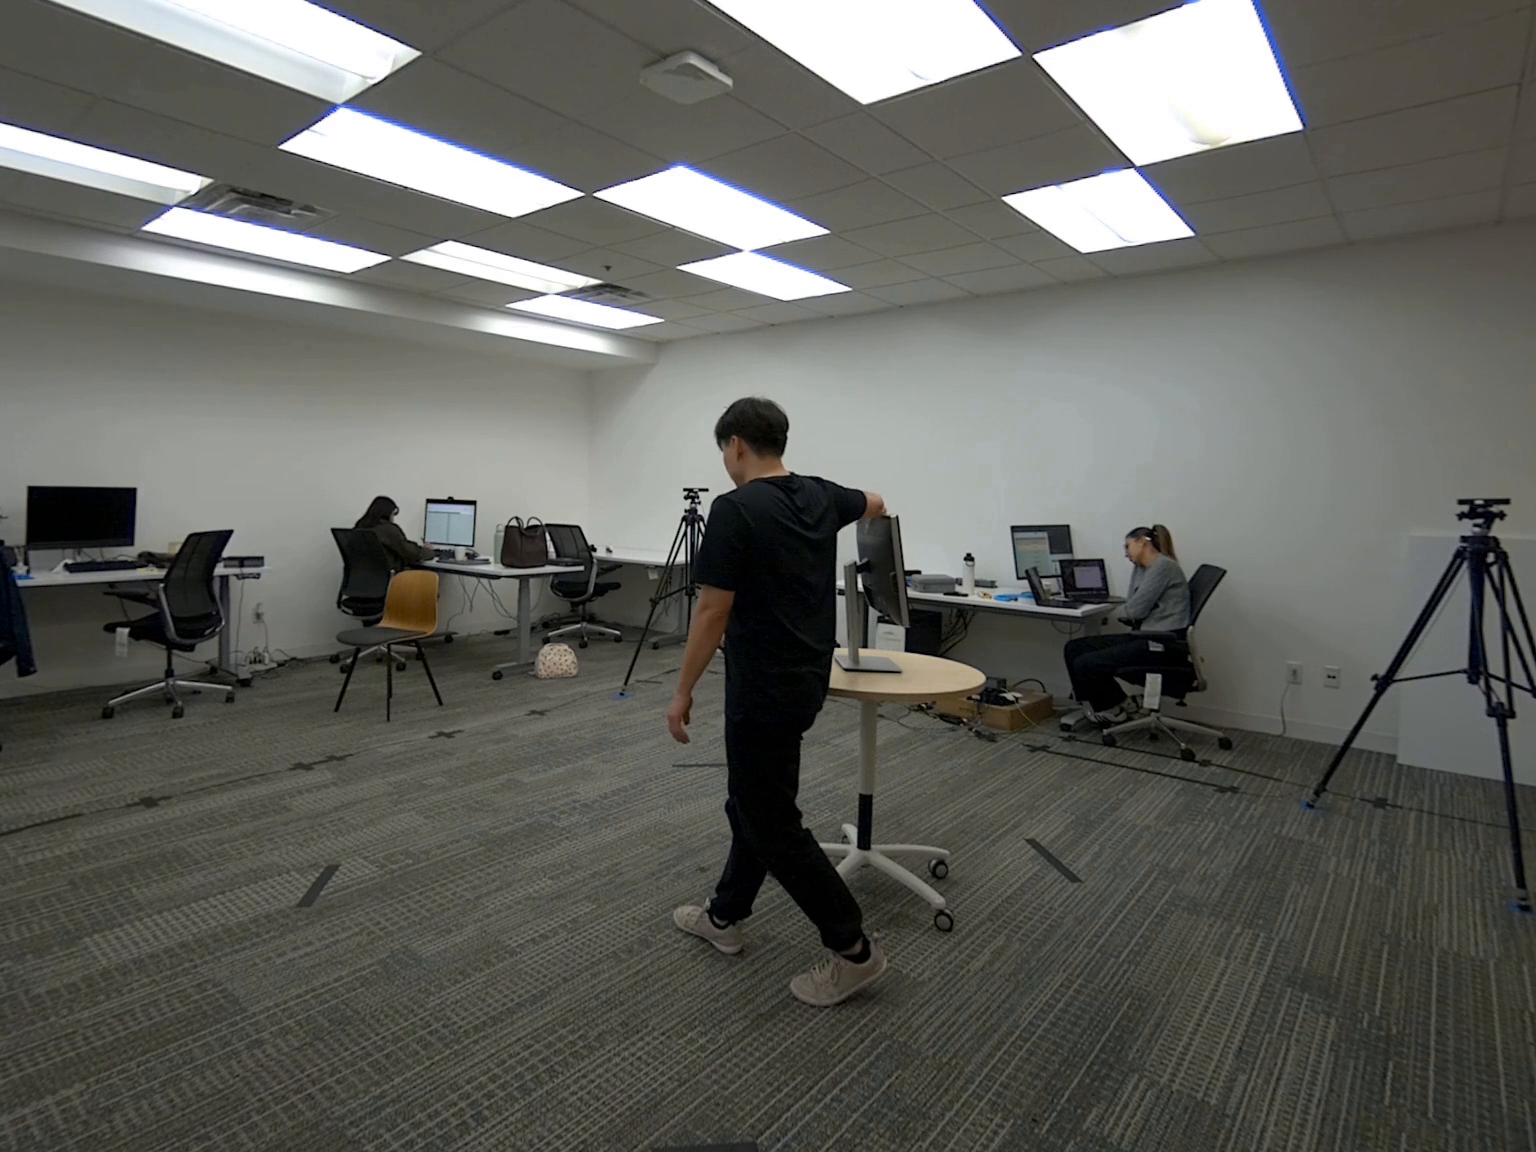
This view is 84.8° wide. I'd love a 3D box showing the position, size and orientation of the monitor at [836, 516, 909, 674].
[{"bbox_3d":[0.349,0.052,2.996,0.186,0.521,0.544,3,4,-7],"label":"monitor"}]
